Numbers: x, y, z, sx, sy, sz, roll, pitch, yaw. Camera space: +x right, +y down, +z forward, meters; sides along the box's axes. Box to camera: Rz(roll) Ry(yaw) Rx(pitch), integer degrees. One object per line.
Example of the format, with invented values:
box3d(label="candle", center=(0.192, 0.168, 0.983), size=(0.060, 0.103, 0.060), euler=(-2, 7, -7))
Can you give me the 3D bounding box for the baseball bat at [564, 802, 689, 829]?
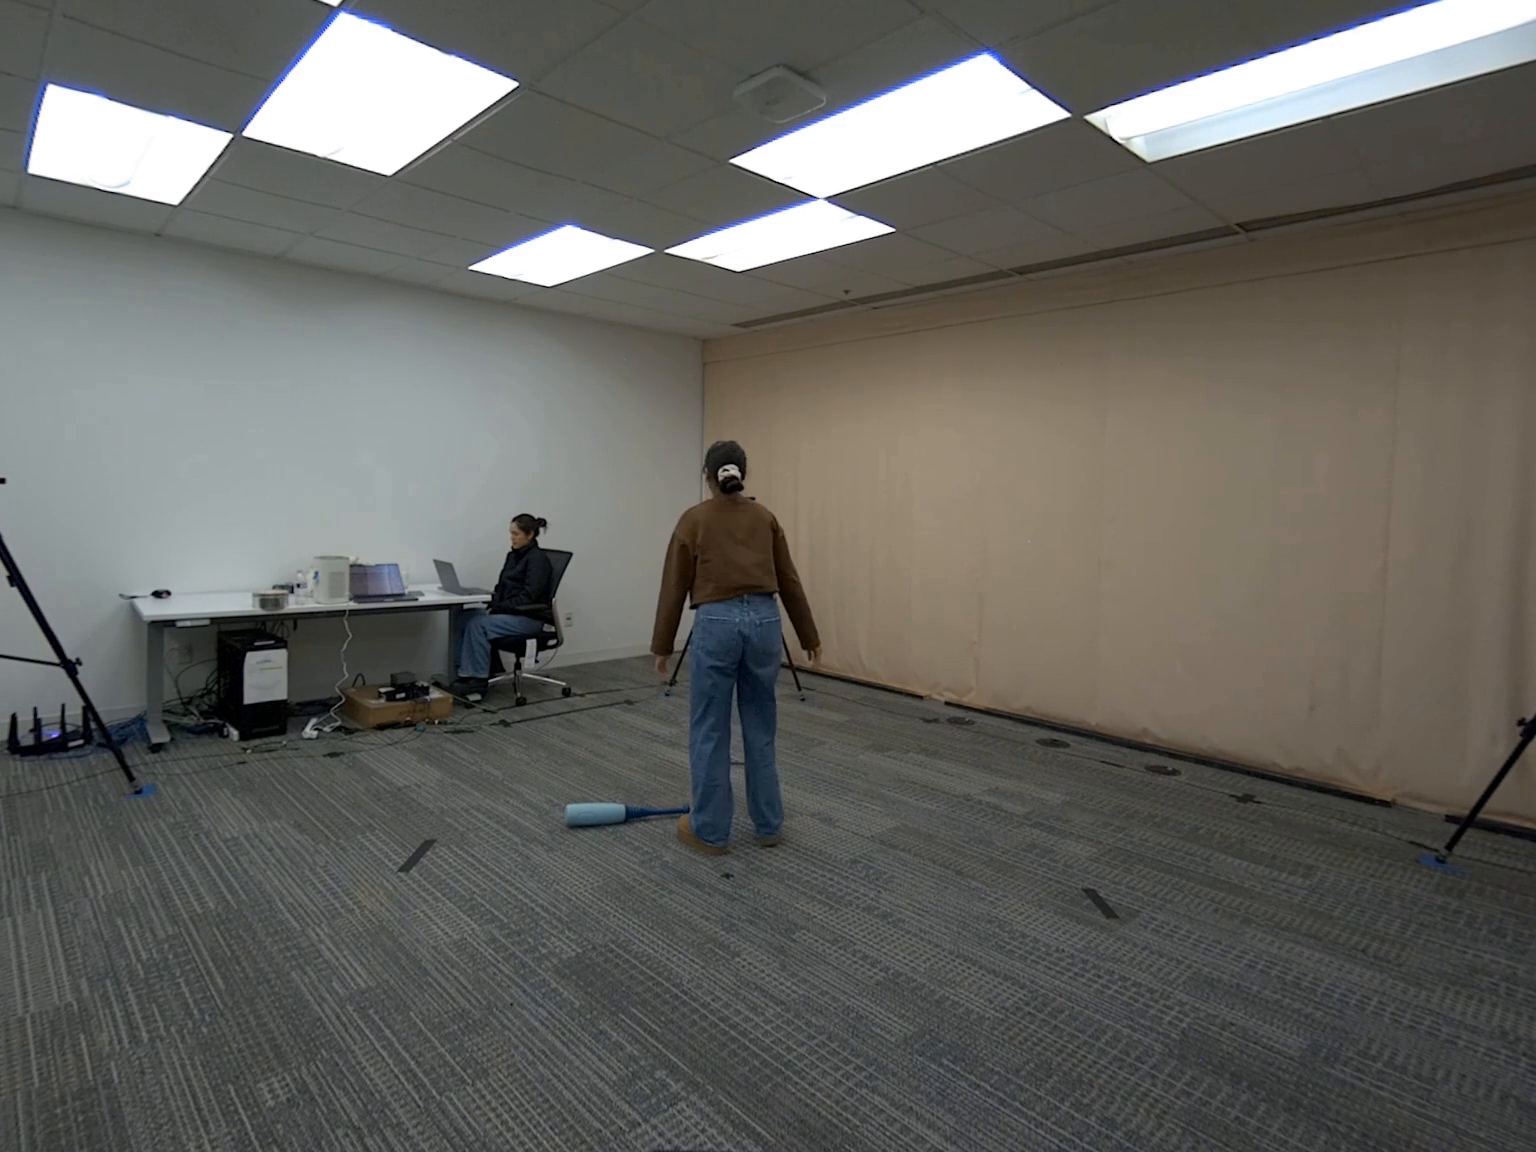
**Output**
box3d(label="baseball bat", center=(-0.600, 1.011, 3.599), size=(0.536, 0.089, 0.090), euler=(3, 4, -16))
